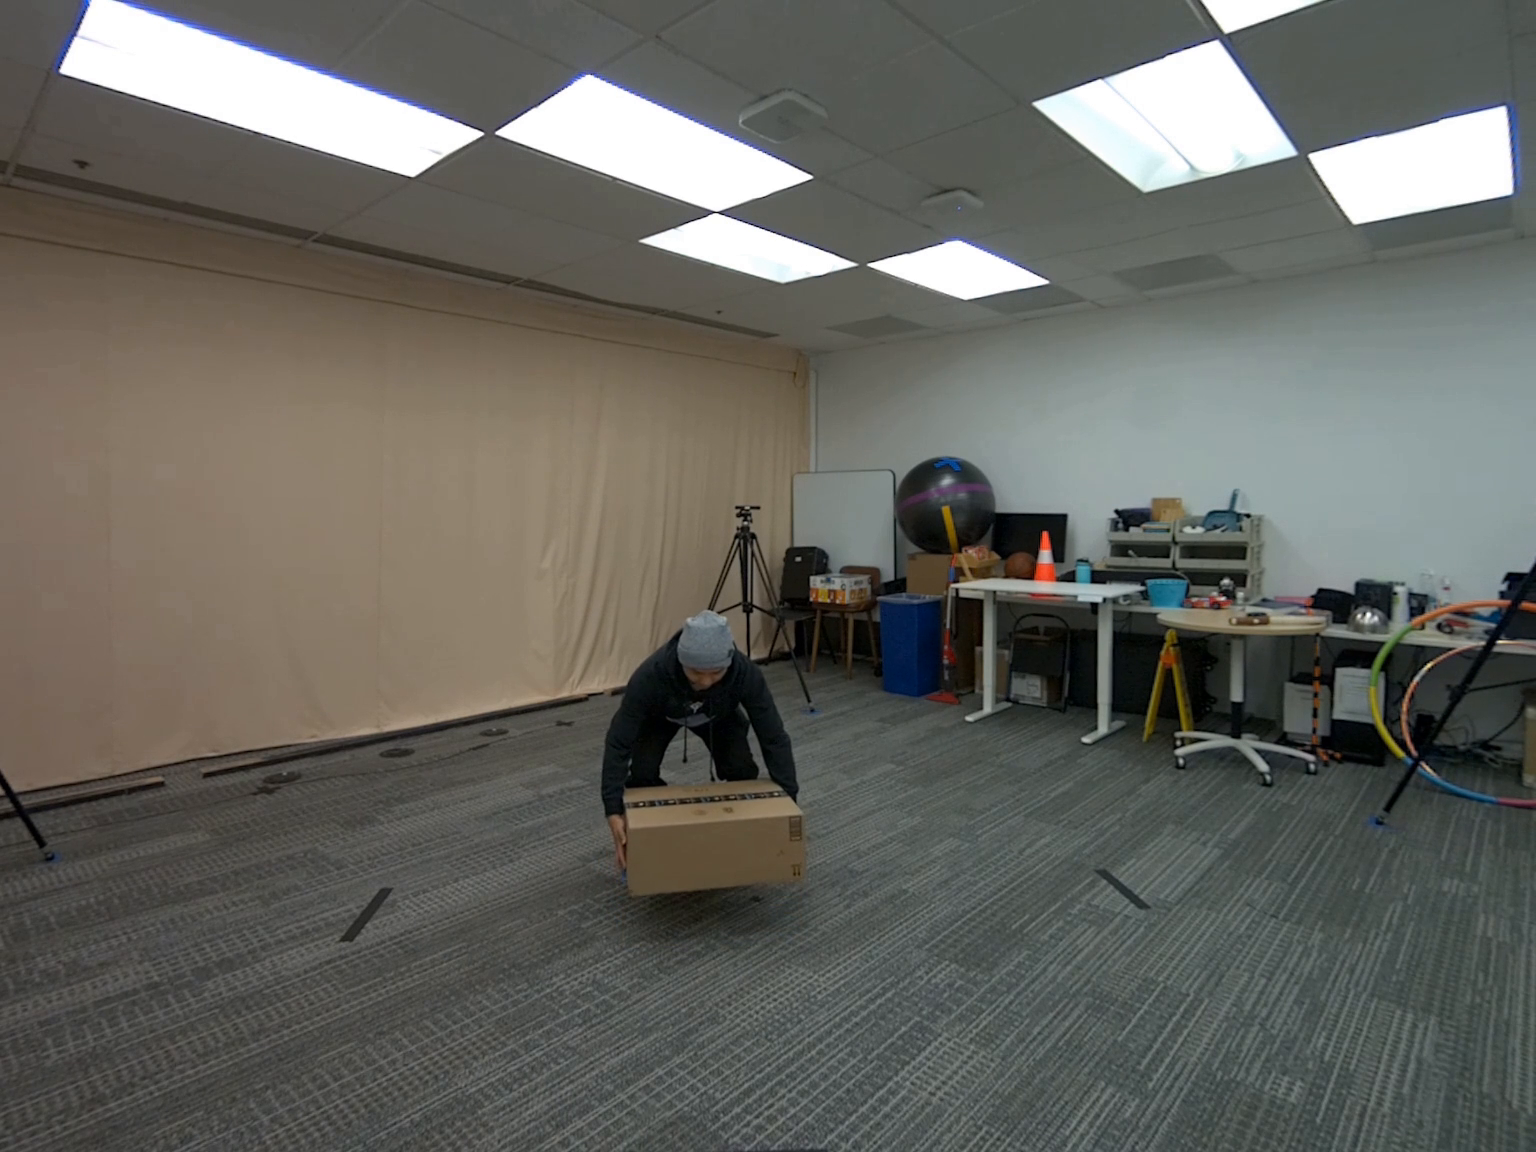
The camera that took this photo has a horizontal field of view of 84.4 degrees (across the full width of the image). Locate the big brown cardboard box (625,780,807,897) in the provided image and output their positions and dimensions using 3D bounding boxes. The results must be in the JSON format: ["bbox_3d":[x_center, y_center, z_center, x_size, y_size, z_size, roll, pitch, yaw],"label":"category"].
[{"bbox_3d":[-0.202,0.872,2.852,0.583,0.233,0.422,-3,3,-9],"label":"big brown cardboard box"}]
